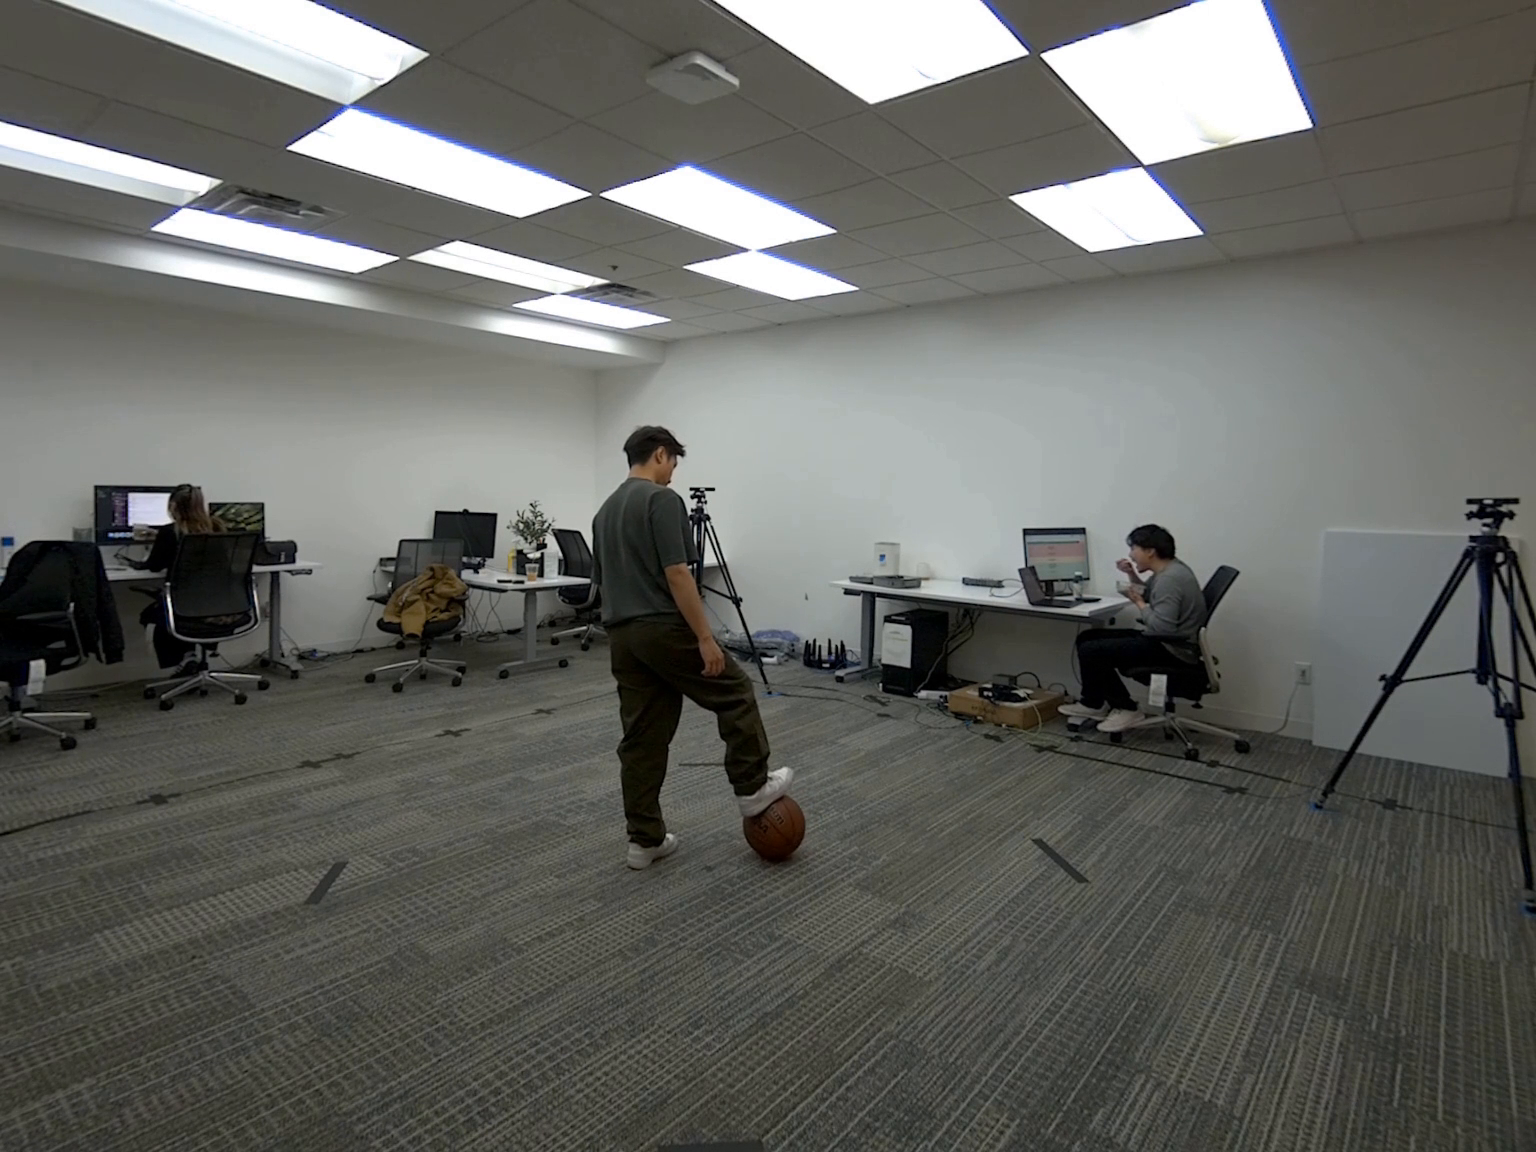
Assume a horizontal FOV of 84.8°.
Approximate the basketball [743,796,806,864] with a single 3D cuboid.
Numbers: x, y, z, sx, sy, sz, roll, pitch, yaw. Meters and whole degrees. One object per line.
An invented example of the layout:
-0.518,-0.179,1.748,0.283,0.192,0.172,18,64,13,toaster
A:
0.015,0.944,3.223,0.235,0.235,0.237,1,4,-2,basketball
